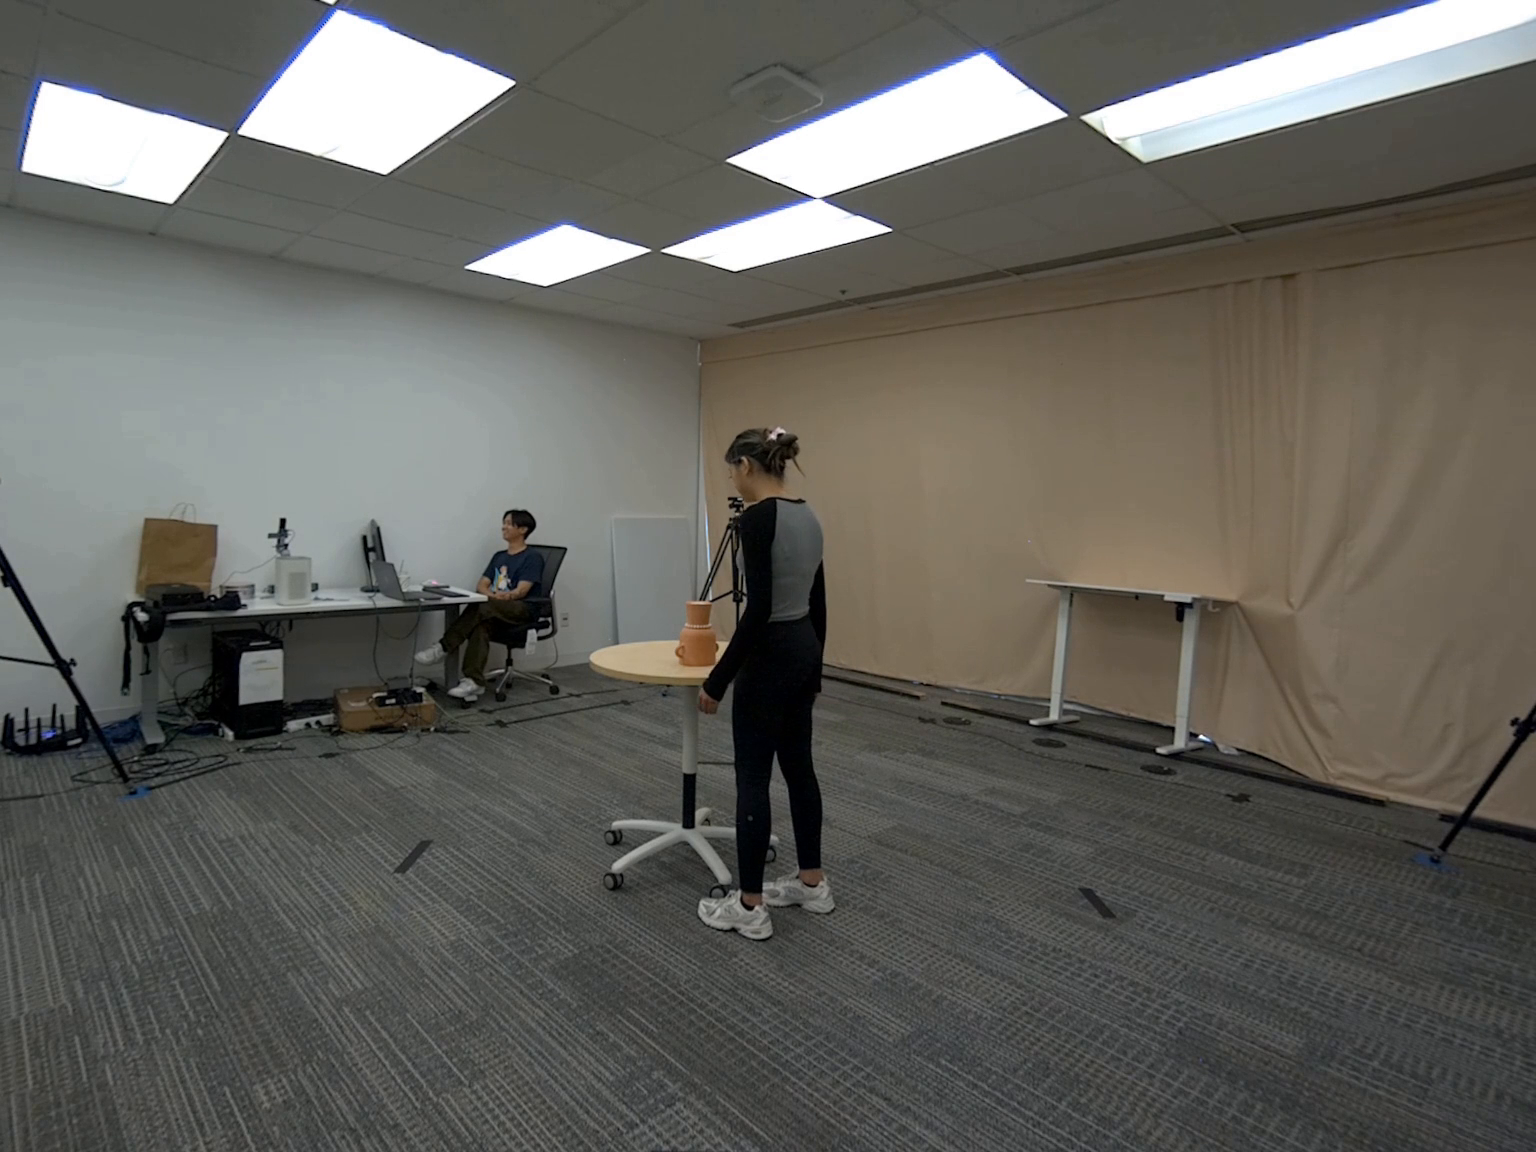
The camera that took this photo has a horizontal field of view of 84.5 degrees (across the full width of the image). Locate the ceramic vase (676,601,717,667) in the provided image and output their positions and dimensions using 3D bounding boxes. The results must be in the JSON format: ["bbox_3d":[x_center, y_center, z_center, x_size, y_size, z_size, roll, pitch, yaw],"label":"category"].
[{"bbox_3d":[-0.260,0.205,3.042,0.135,0.219,0.158,2,4,5],"label":"ceramic vase"}]
